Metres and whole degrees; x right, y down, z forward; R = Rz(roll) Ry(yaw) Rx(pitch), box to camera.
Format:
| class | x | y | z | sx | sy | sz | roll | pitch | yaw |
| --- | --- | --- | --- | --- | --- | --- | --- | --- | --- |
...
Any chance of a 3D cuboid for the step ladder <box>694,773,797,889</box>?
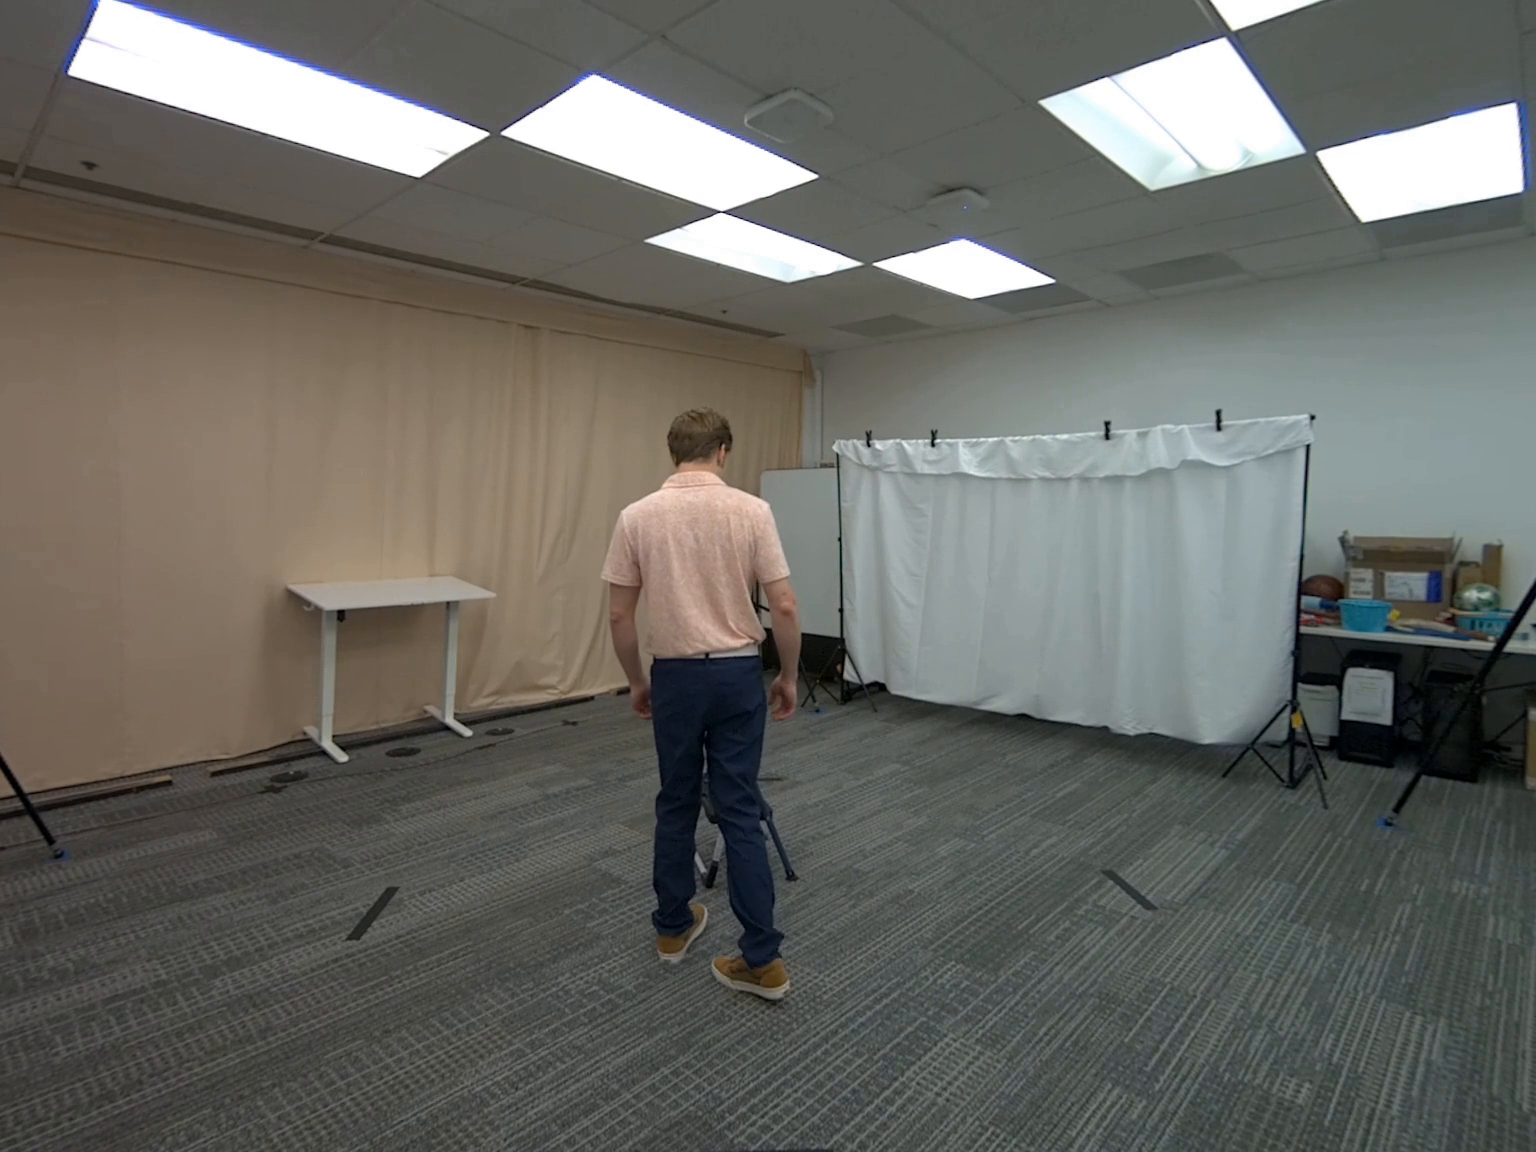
| class | x | y | z | sx | sy | sz | roll | pitch | yaw |
| --- | --- | --- | --- | --- | --- | --- | --- | --- | --- |
| step ladder | -0.113 | 0.816 | 3.282 | 0.344 | 0.605 | 0.438 | -1 | 3 | -16 |
